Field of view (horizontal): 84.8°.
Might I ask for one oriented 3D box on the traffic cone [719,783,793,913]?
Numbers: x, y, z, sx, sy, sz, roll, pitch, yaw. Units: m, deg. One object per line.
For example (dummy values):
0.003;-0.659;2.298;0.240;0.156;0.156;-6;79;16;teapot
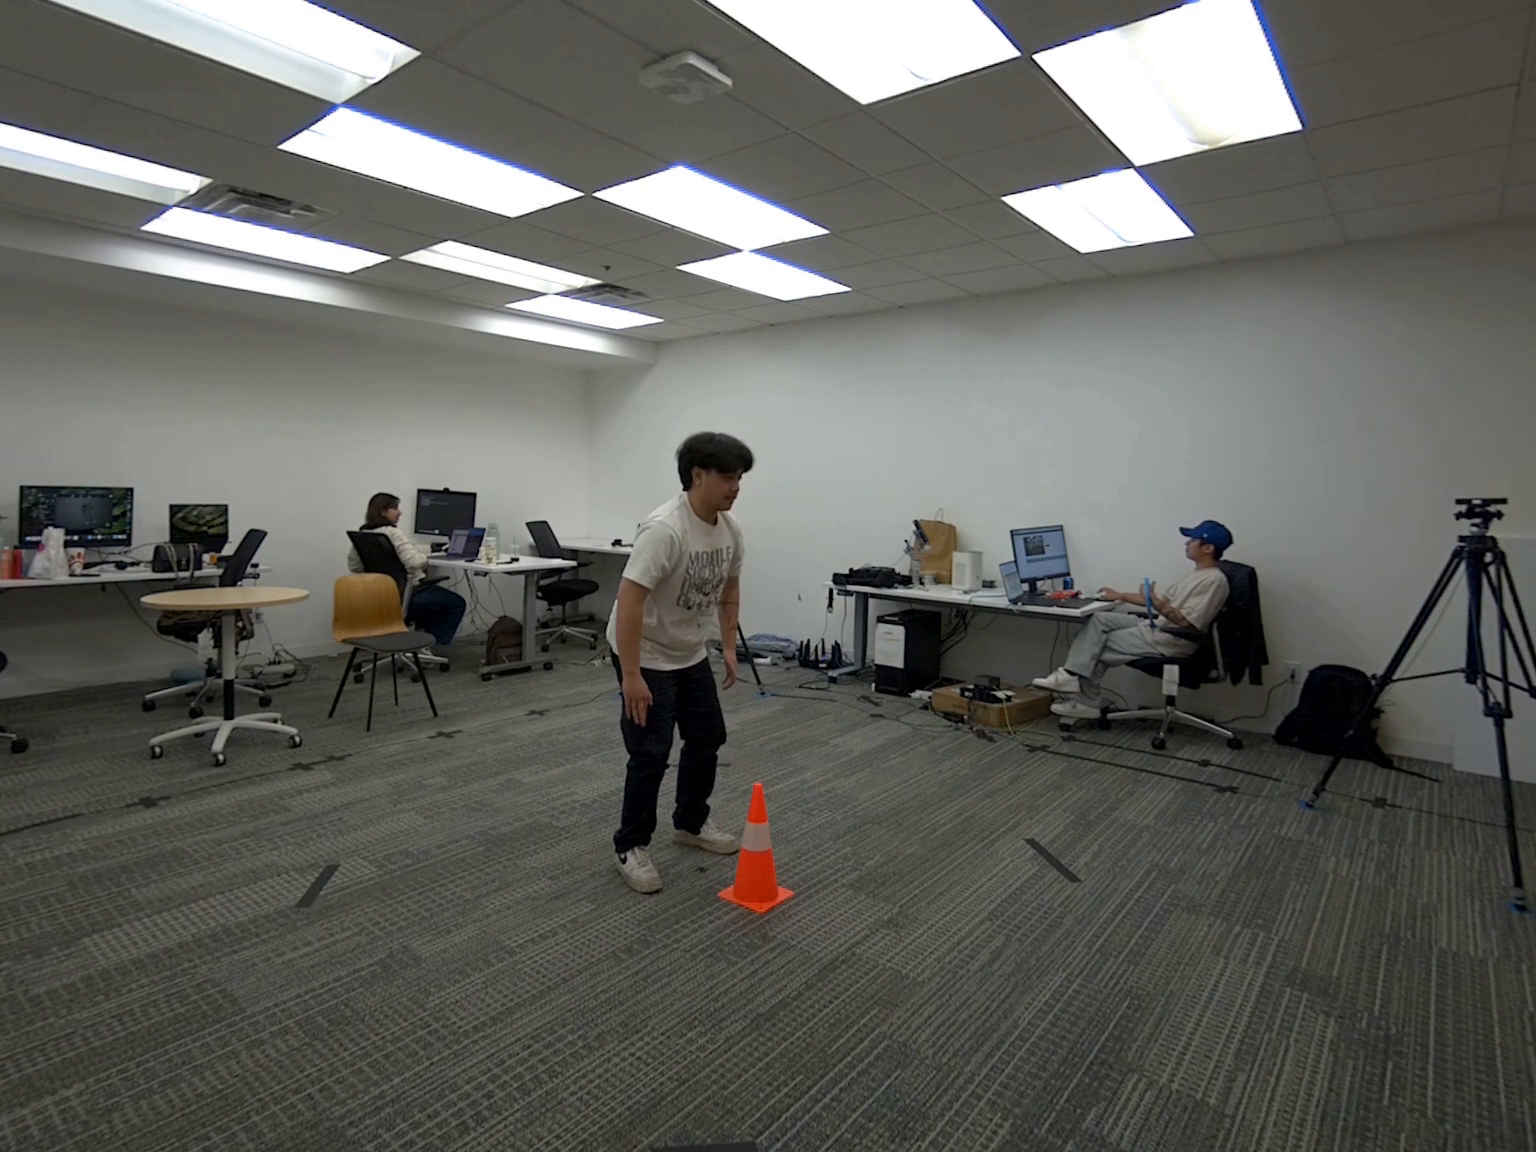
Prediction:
-0.039;0.907;2.922;0.209;0.383;0.199;4;3;31;traffic cone
